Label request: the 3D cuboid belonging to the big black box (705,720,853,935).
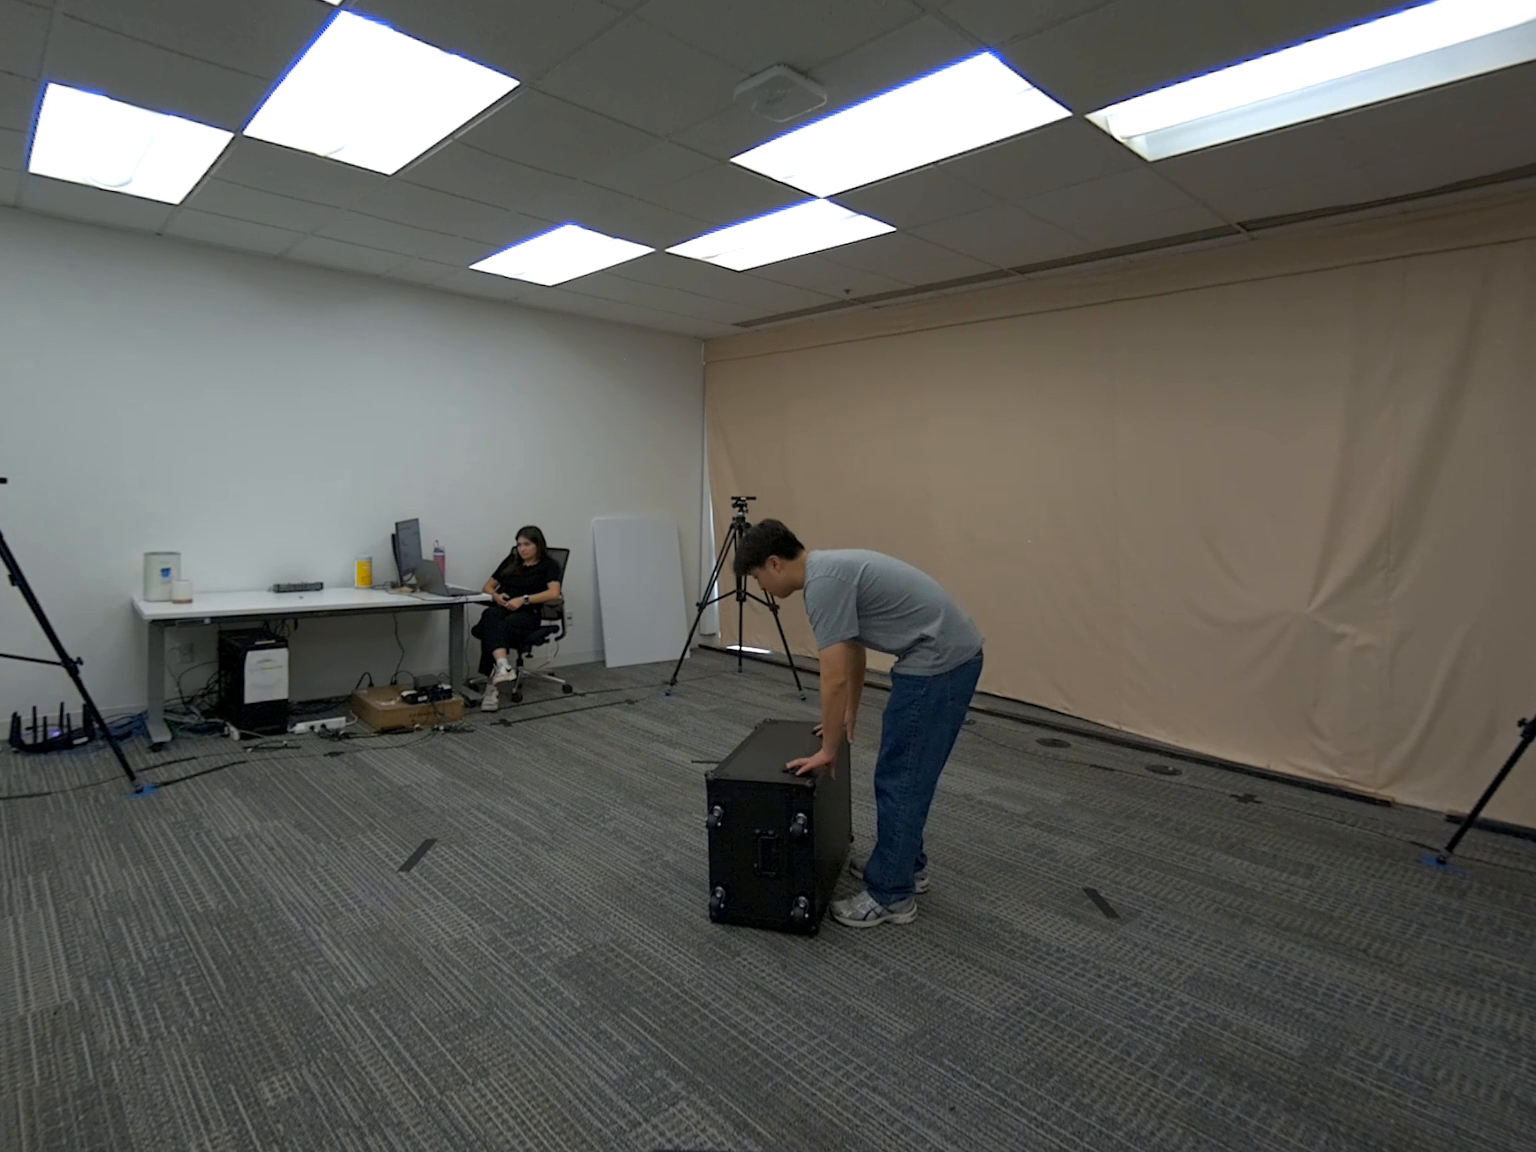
[{"bbox_3d":[0.048,0.856,3.034,0.401,0.520,0.853,0,4,14],"label":"big black box"}]
